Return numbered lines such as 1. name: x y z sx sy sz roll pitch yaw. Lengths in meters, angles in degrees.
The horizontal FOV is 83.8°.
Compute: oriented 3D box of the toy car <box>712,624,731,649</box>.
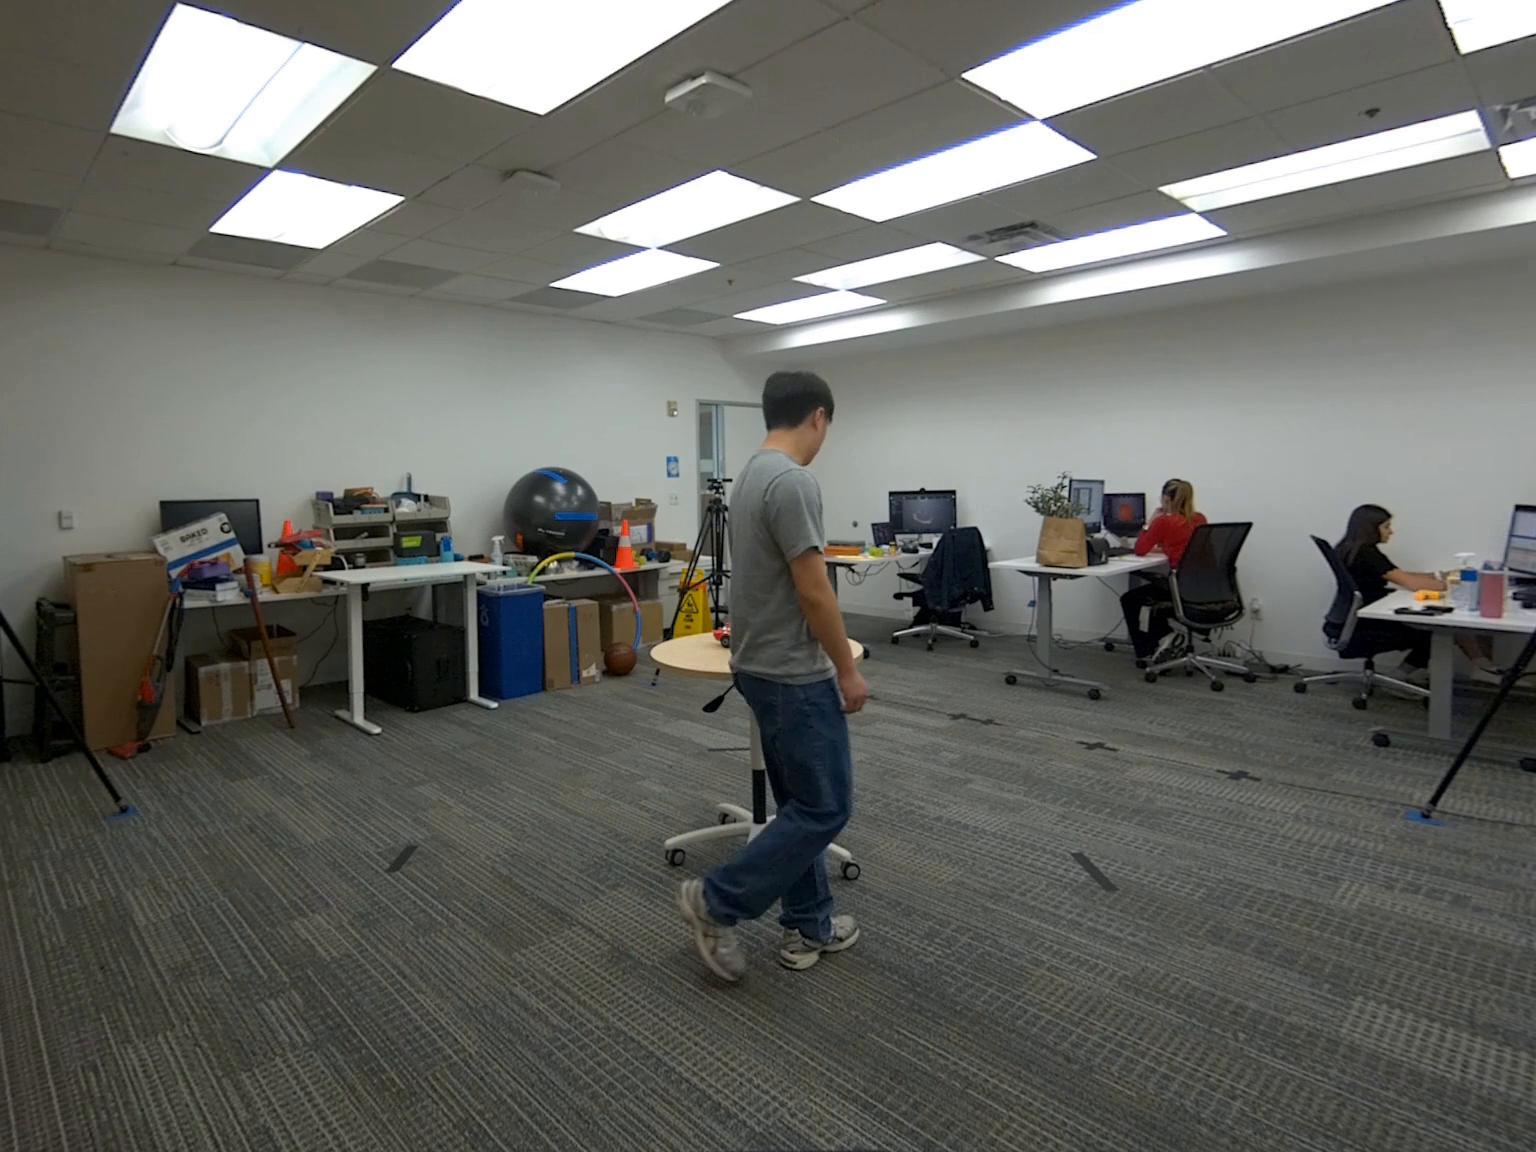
1. toy car: -0.075 0.228 3.132 0.262 0.082 0.127 14 12 27
